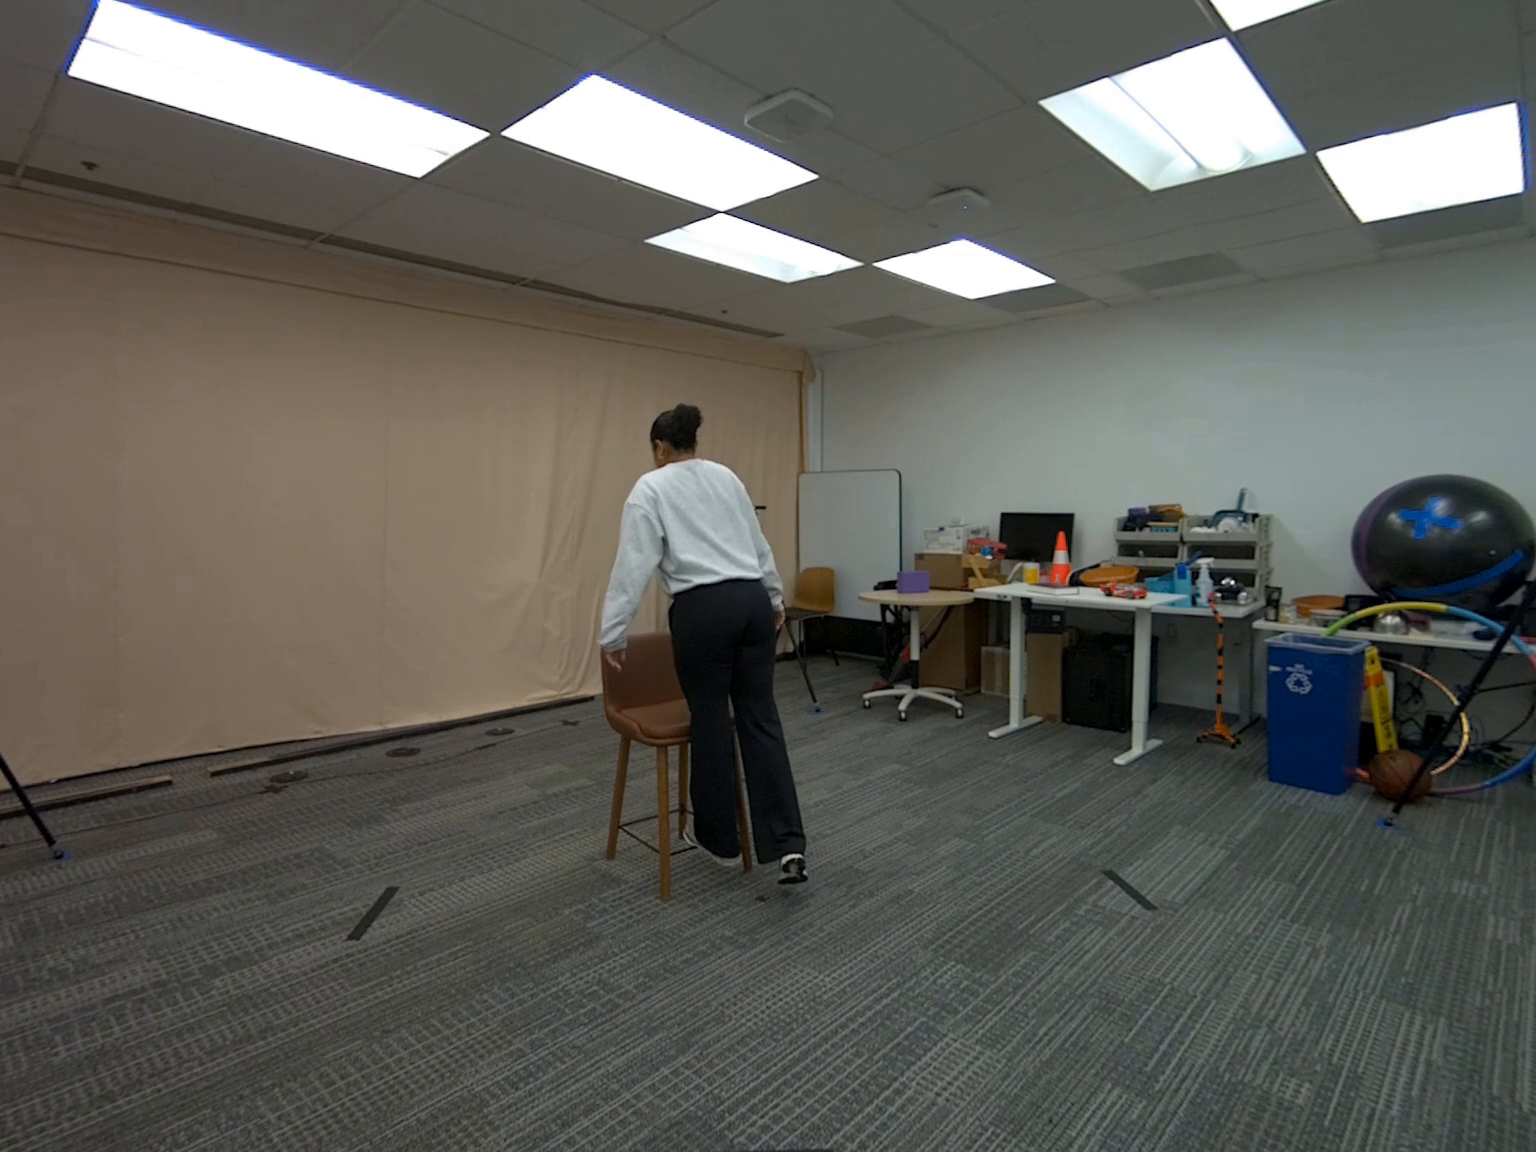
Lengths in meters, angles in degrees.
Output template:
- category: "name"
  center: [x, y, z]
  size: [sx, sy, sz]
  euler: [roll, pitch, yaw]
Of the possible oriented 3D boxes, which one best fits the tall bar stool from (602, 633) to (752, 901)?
- category: "tall bar stool"
  center: [-0.363, 0.687, 3.248]
  size: [0.443, 0.888, 0.482]
  euler: [-3, 3, -38]
